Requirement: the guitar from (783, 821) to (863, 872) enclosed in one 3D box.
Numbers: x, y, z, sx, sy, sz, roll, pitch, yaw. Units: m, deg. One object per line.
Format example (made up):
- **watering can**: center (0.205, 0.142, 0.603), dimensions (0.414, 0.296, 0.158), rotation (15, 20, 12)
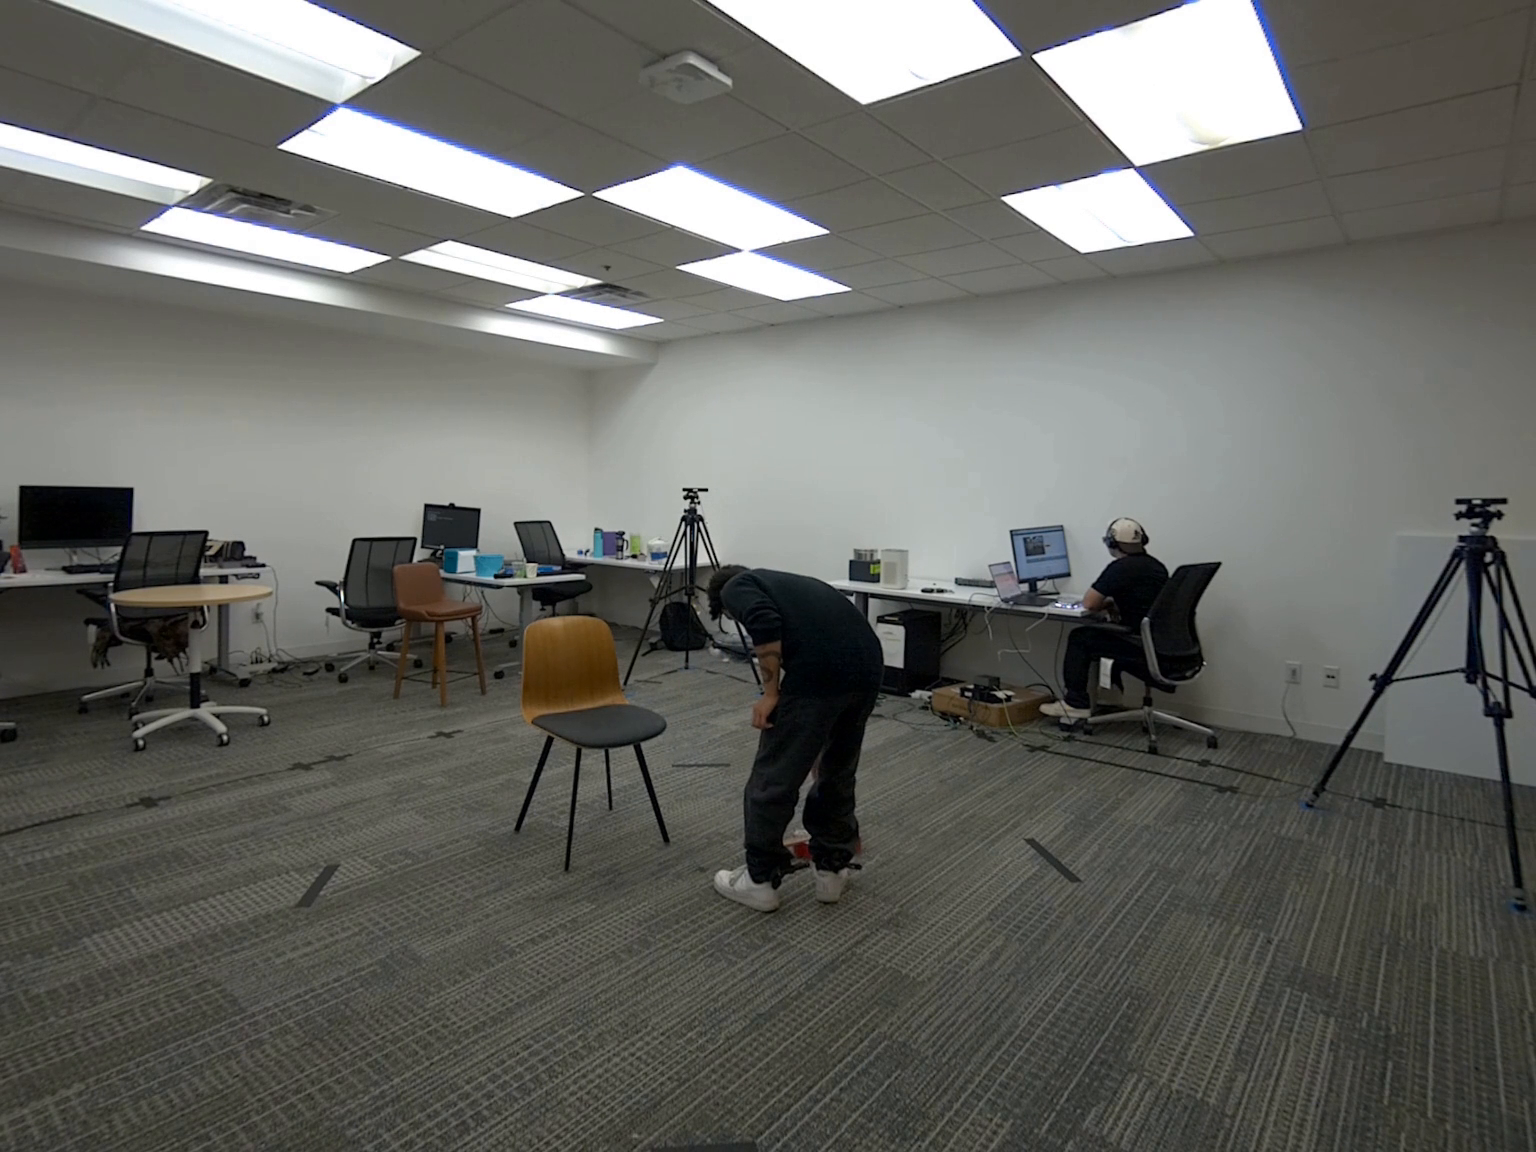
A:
- **guitar**: center (0.113, 1.019, 3.281), dimensions (0.486, 0.070, 0.198), rotation (-1, 5, -24)
